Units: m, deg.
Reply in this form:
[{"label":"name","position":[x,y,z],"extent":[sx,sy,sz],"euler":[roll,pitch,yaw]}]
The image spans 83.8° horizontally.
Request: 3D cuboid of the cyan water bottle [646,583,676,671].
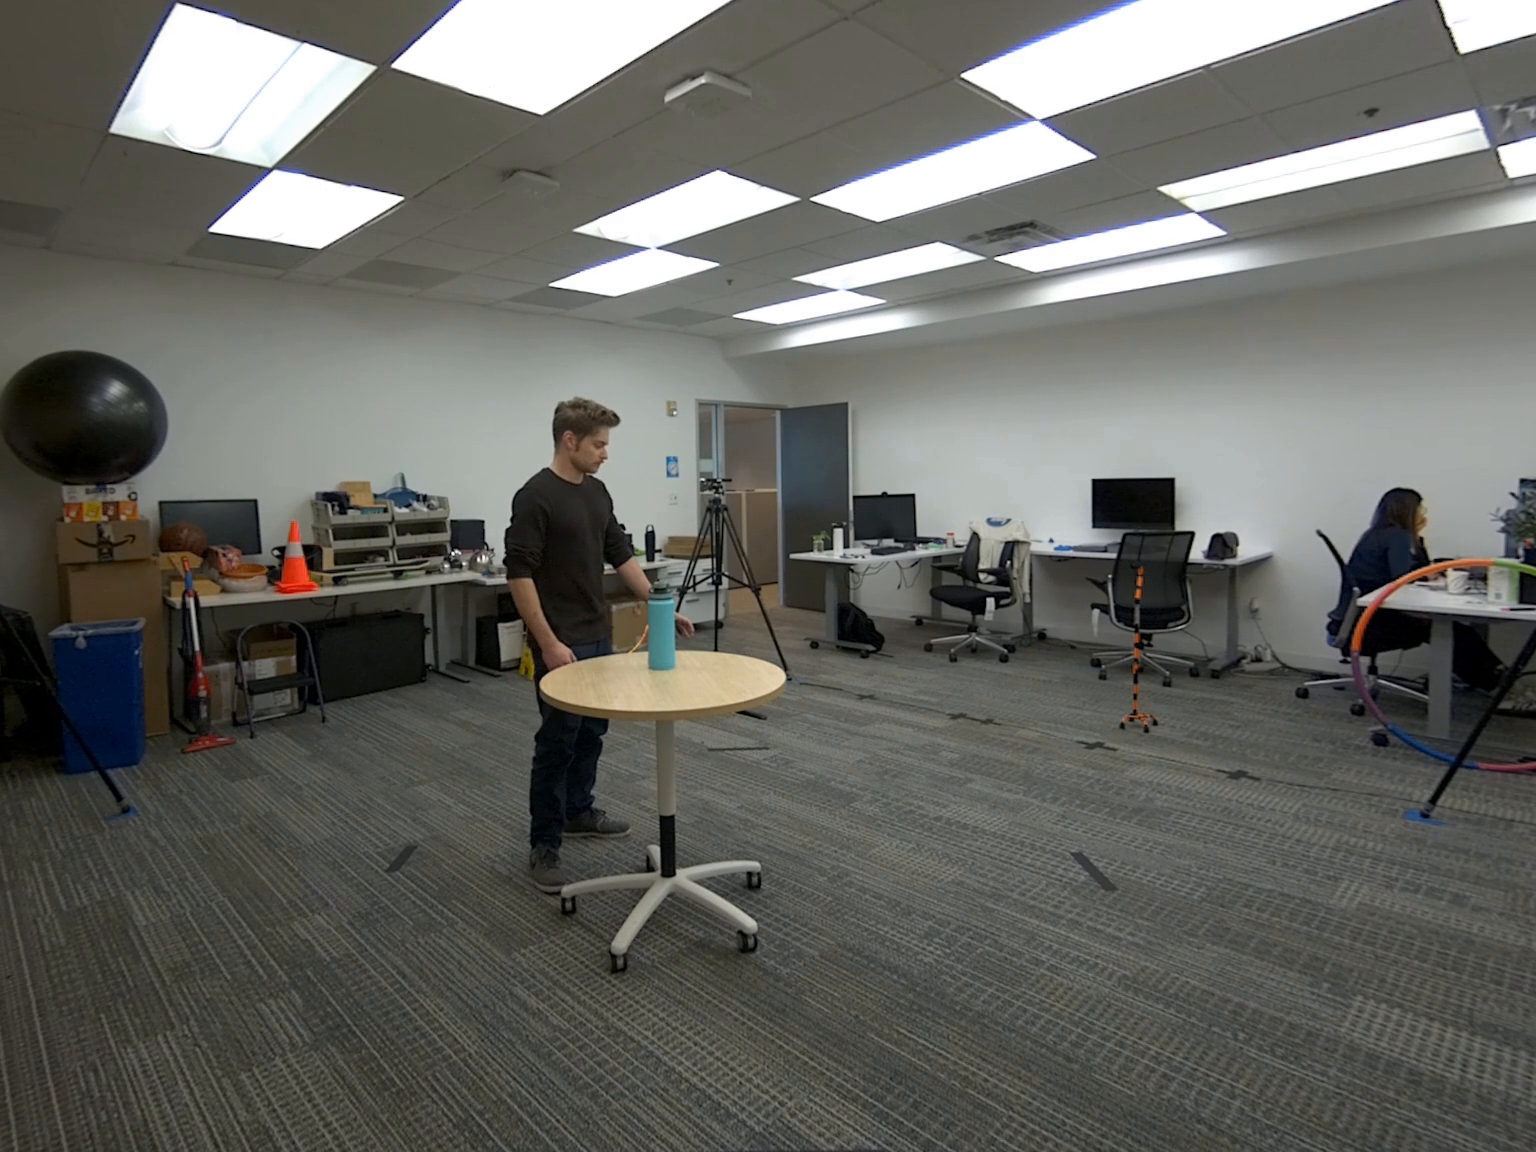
[{"label":"cyan water bottle","position":[-0.348,0.162,2.800],"extent":[0.092,0.283,0.092],"euler":[-2,2,-2]}]
